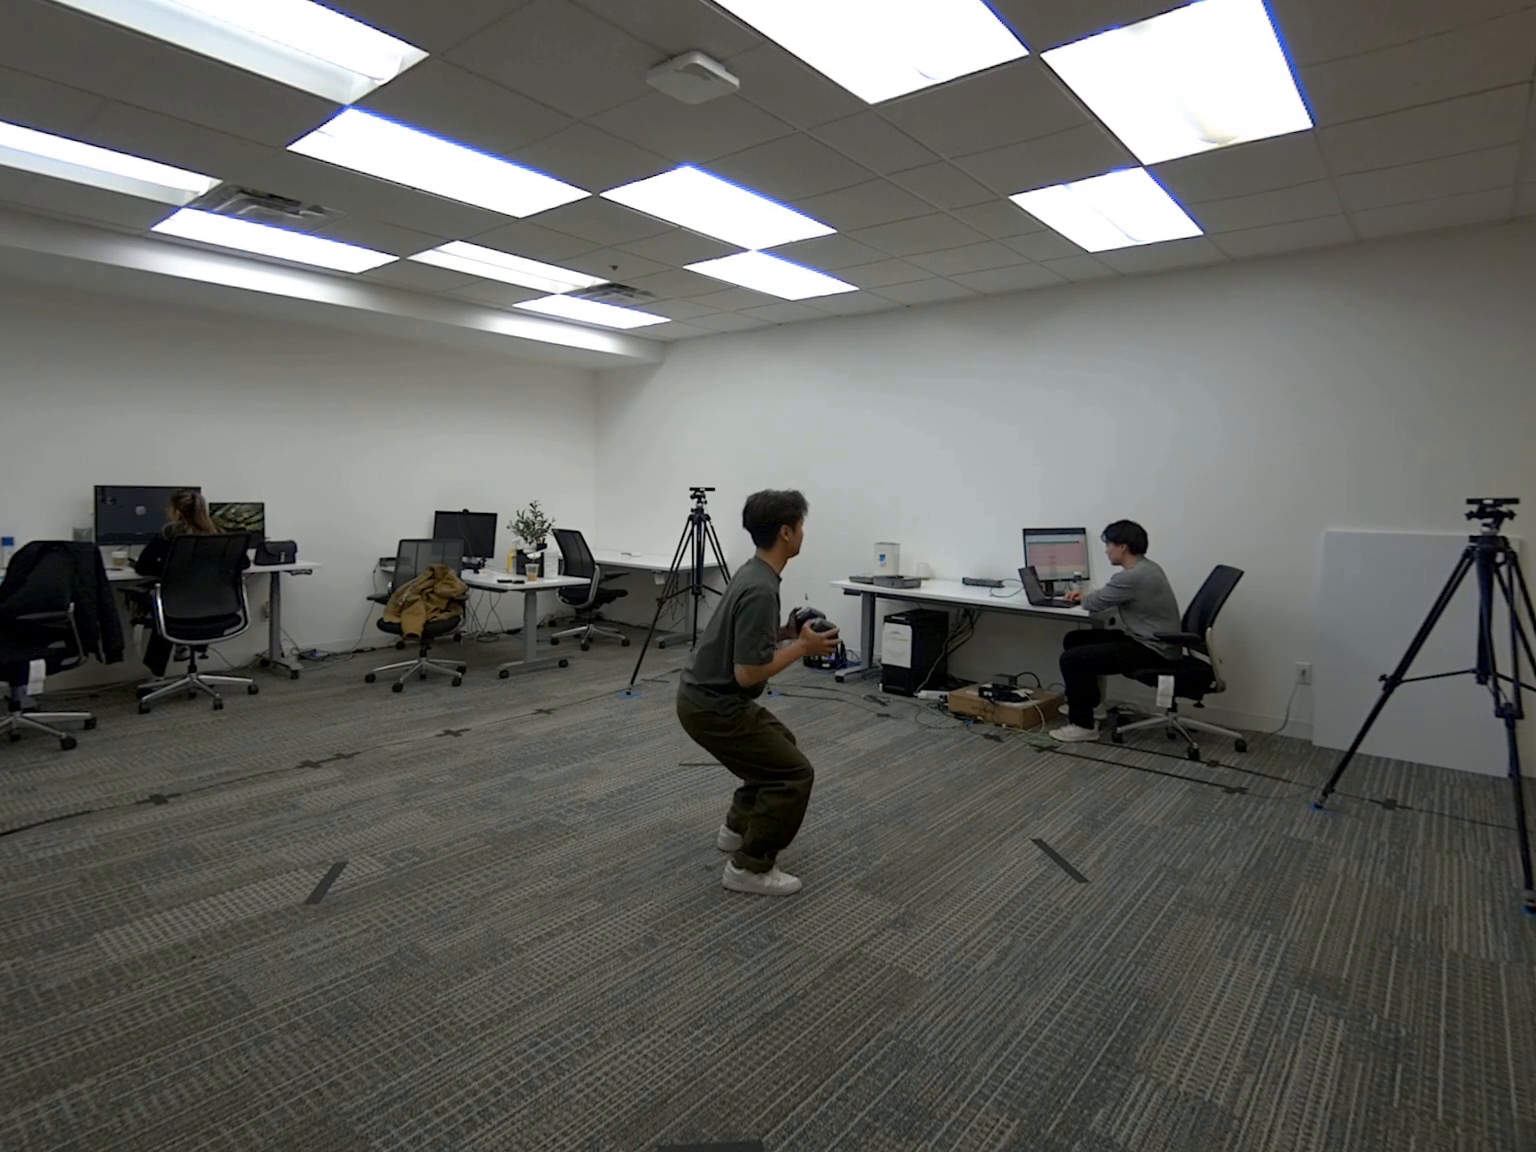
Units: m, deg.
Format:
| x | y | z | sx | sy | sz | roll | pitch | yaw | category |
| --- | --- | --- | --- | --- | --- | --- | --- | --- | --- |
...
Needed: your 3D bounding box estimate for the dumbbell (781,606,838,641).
| x | y | z | sx | sy | sz | roll | pitch | yaw | category |
| --- | --- | --- | --- | --- | --- | --- | --- | --- | --- |
| 0.156 | 0.193 | 3.079 | 0.123 | 0.107 | 0.297 | -39 | 11 | 2 | dumbbell |
